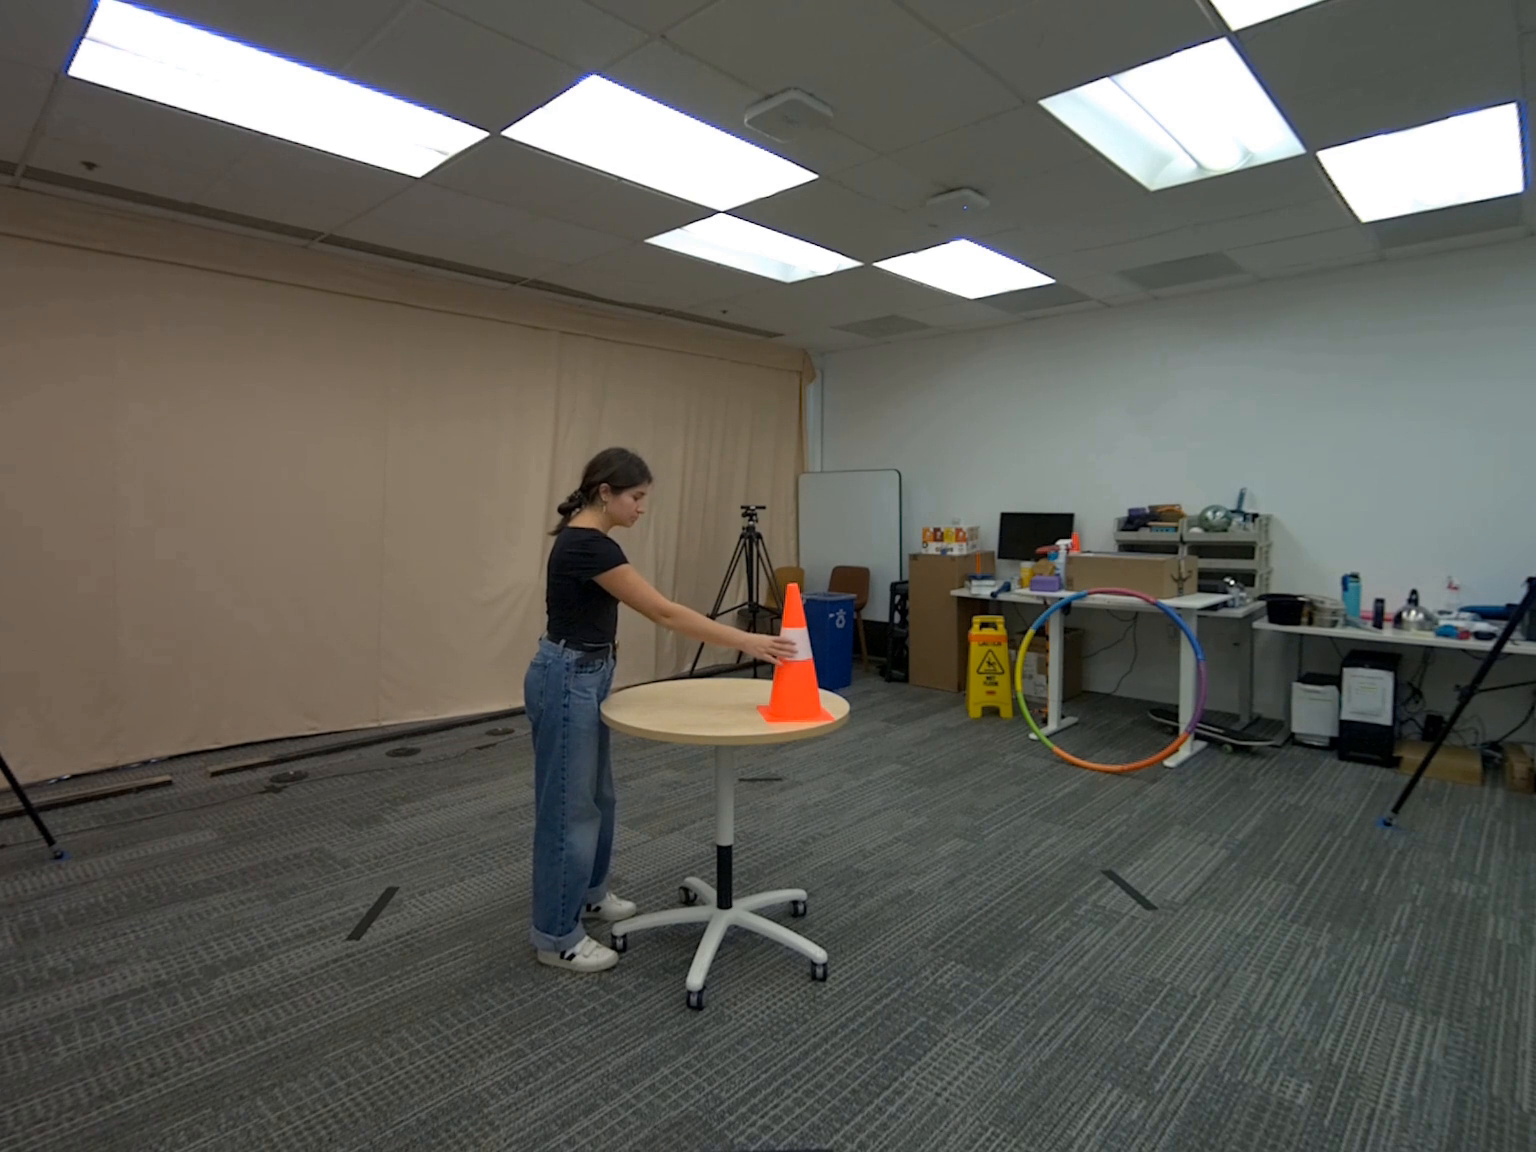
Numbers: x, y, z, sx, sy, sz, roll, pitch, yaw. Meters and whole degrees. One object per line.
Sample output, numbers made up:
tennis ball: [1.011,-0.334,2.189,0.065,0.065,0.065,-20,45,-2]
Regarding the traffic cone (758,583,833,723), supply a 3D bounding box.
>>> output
traffic cone: [0.080,0.221,2.441,0.202,0.383,0.206,-3,3,-13]
